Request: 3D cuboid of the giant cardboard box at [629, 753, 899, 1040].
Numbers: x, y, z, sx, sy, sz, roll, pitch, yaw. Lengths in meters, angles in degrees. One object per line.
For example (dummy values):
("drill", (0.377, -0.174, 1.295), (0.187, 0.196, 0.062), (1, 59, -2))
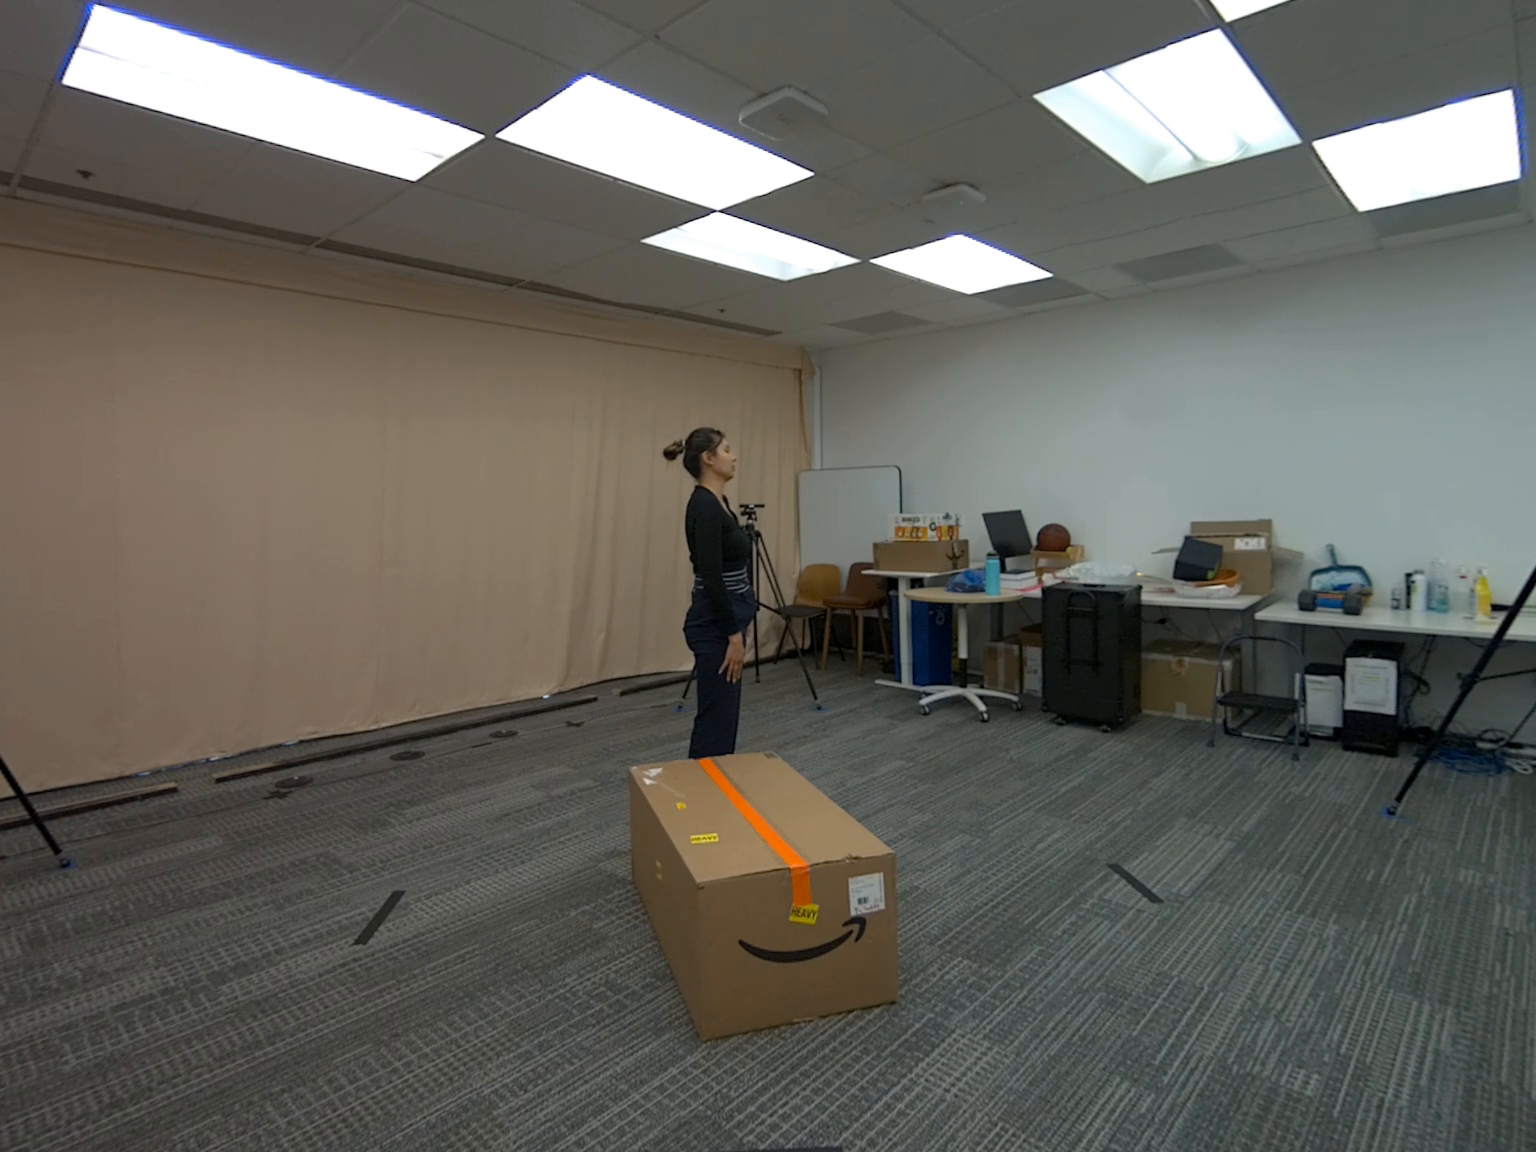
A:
("giant cardboard box", (-0.073, 0.943, 2.742), (0.567, 0.425, 1.047), (-3, 5, -19))
